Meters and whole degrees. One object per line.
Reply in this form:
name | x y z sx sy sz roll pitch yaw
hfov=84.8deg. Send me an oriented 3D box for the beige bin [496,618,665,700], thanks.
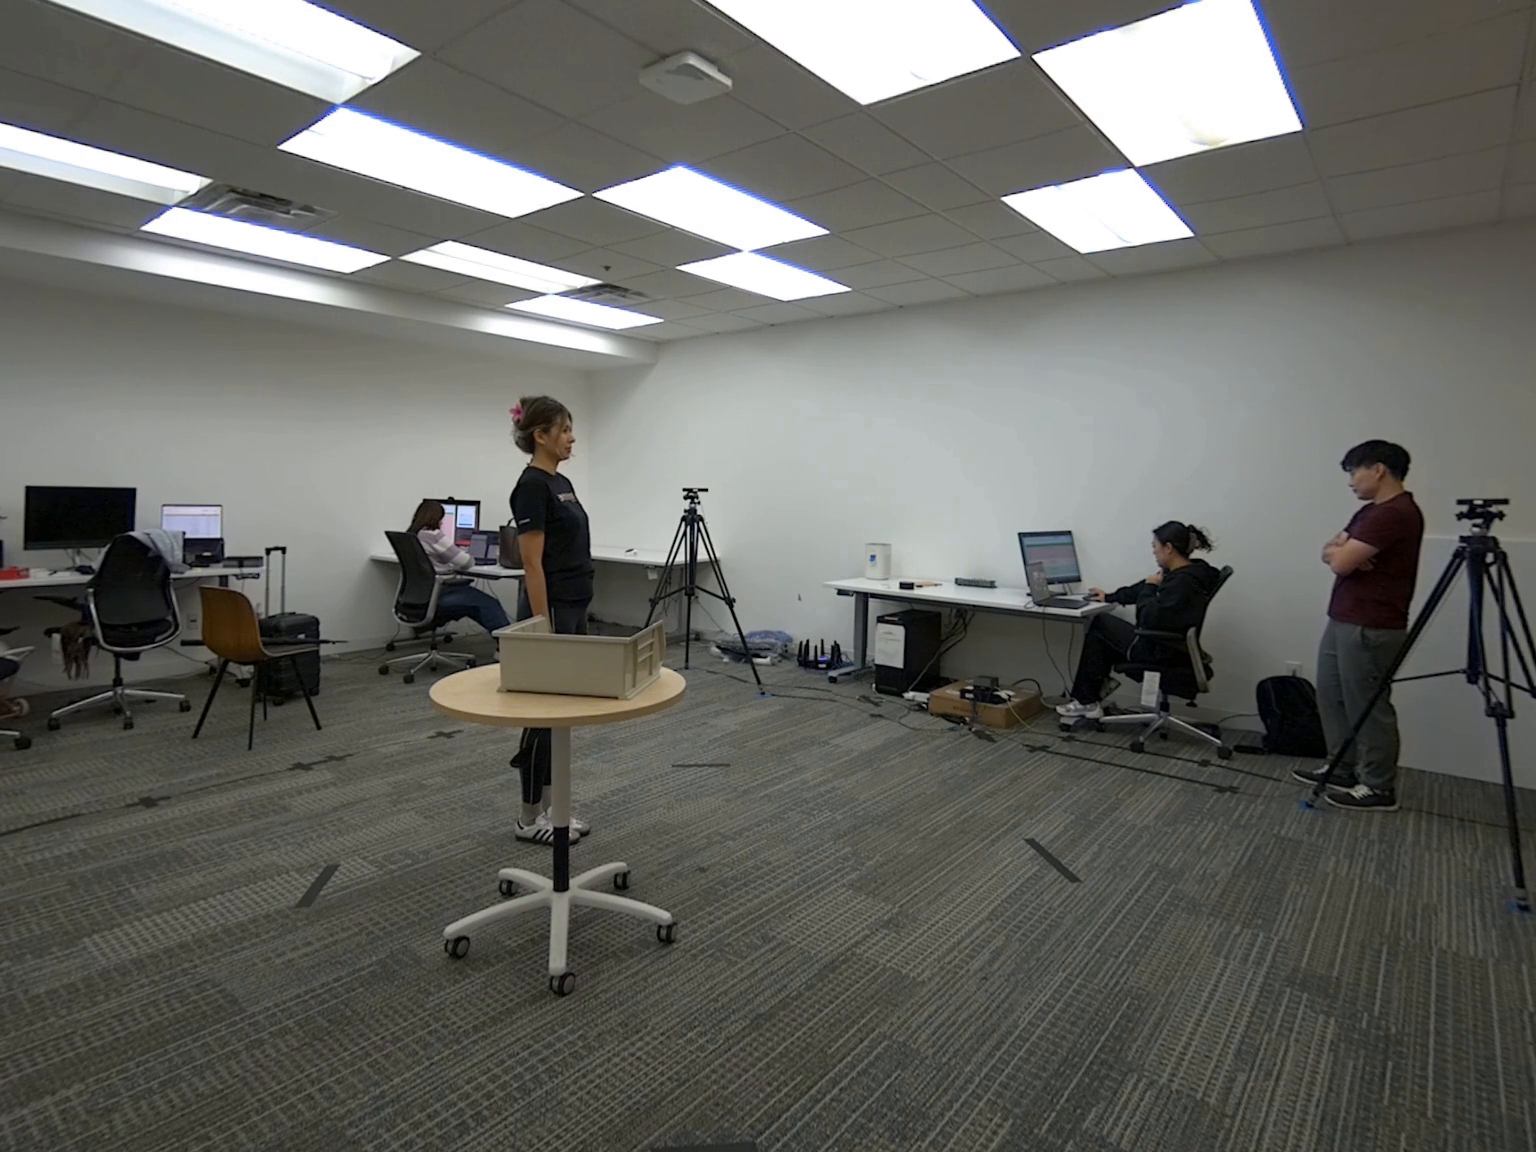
beige bin | -0.578 0.238 2.613 0.428 0.188 0.375 2 7 11
